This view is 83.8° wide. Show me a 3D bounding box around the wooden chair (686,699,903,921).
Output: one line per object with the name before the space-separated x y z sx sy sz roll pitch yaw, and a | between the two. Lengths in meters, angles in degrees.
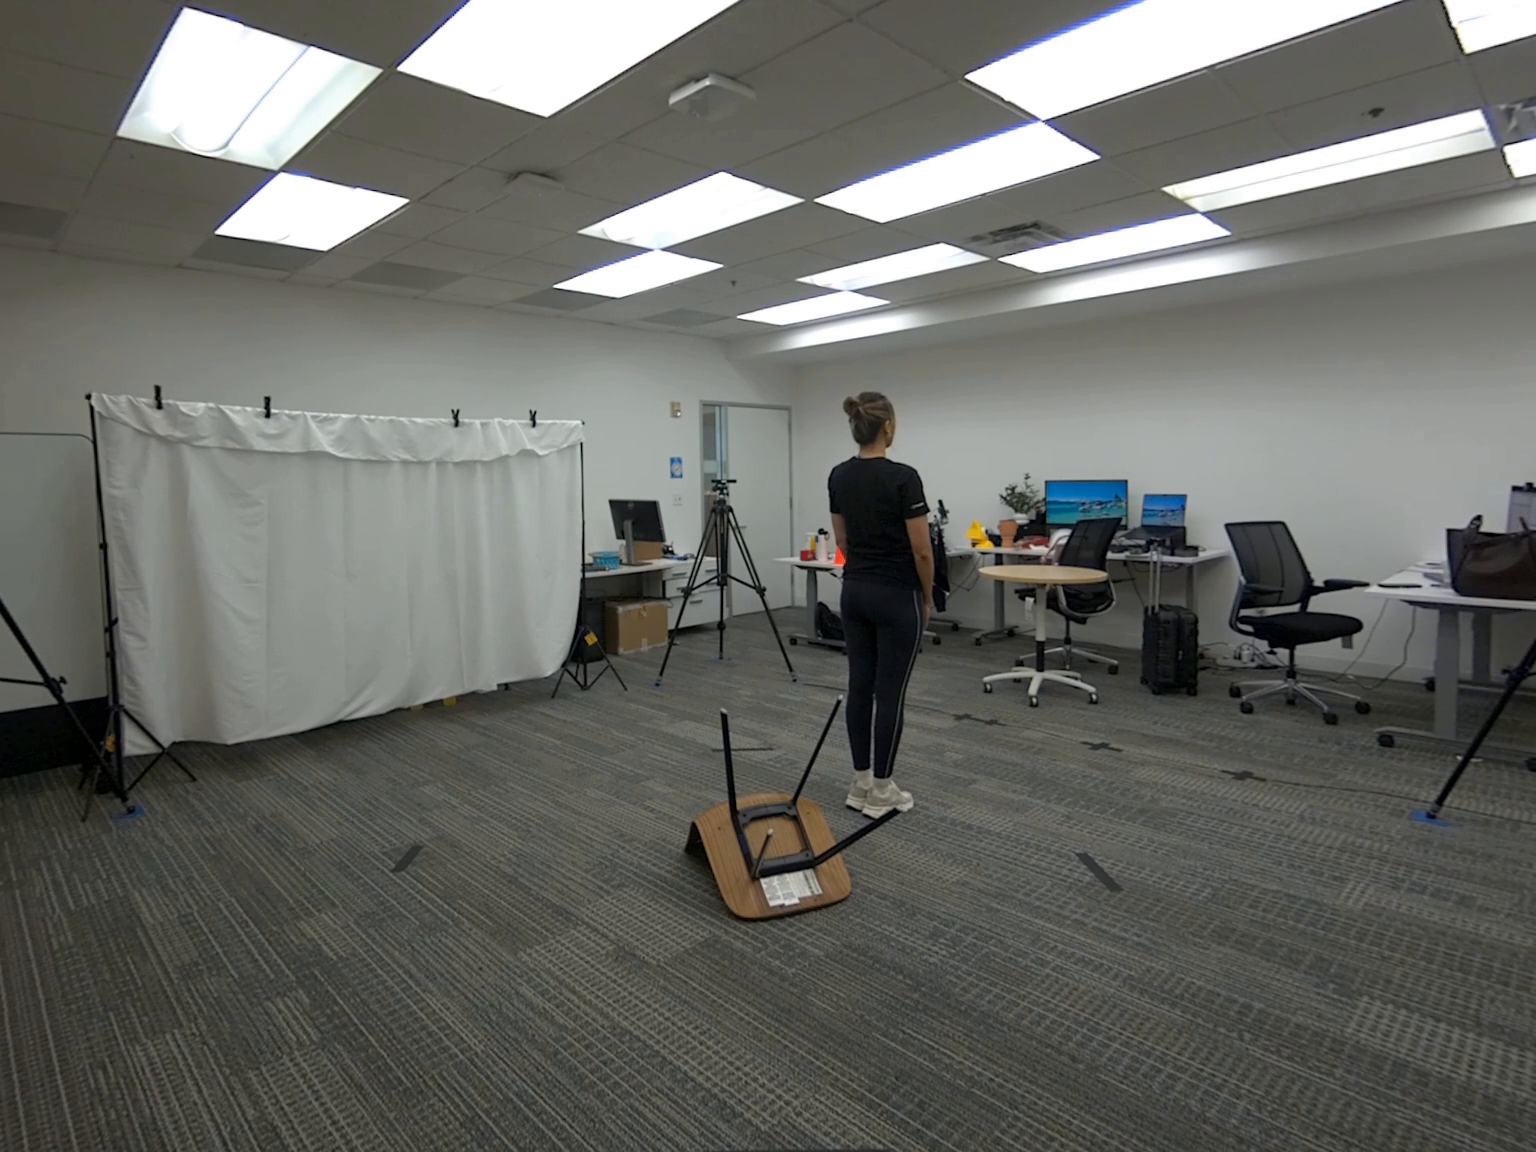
wooden chair | 0.024 0.895 2.914 0.468 0.864 0.542 -2 46 -25
